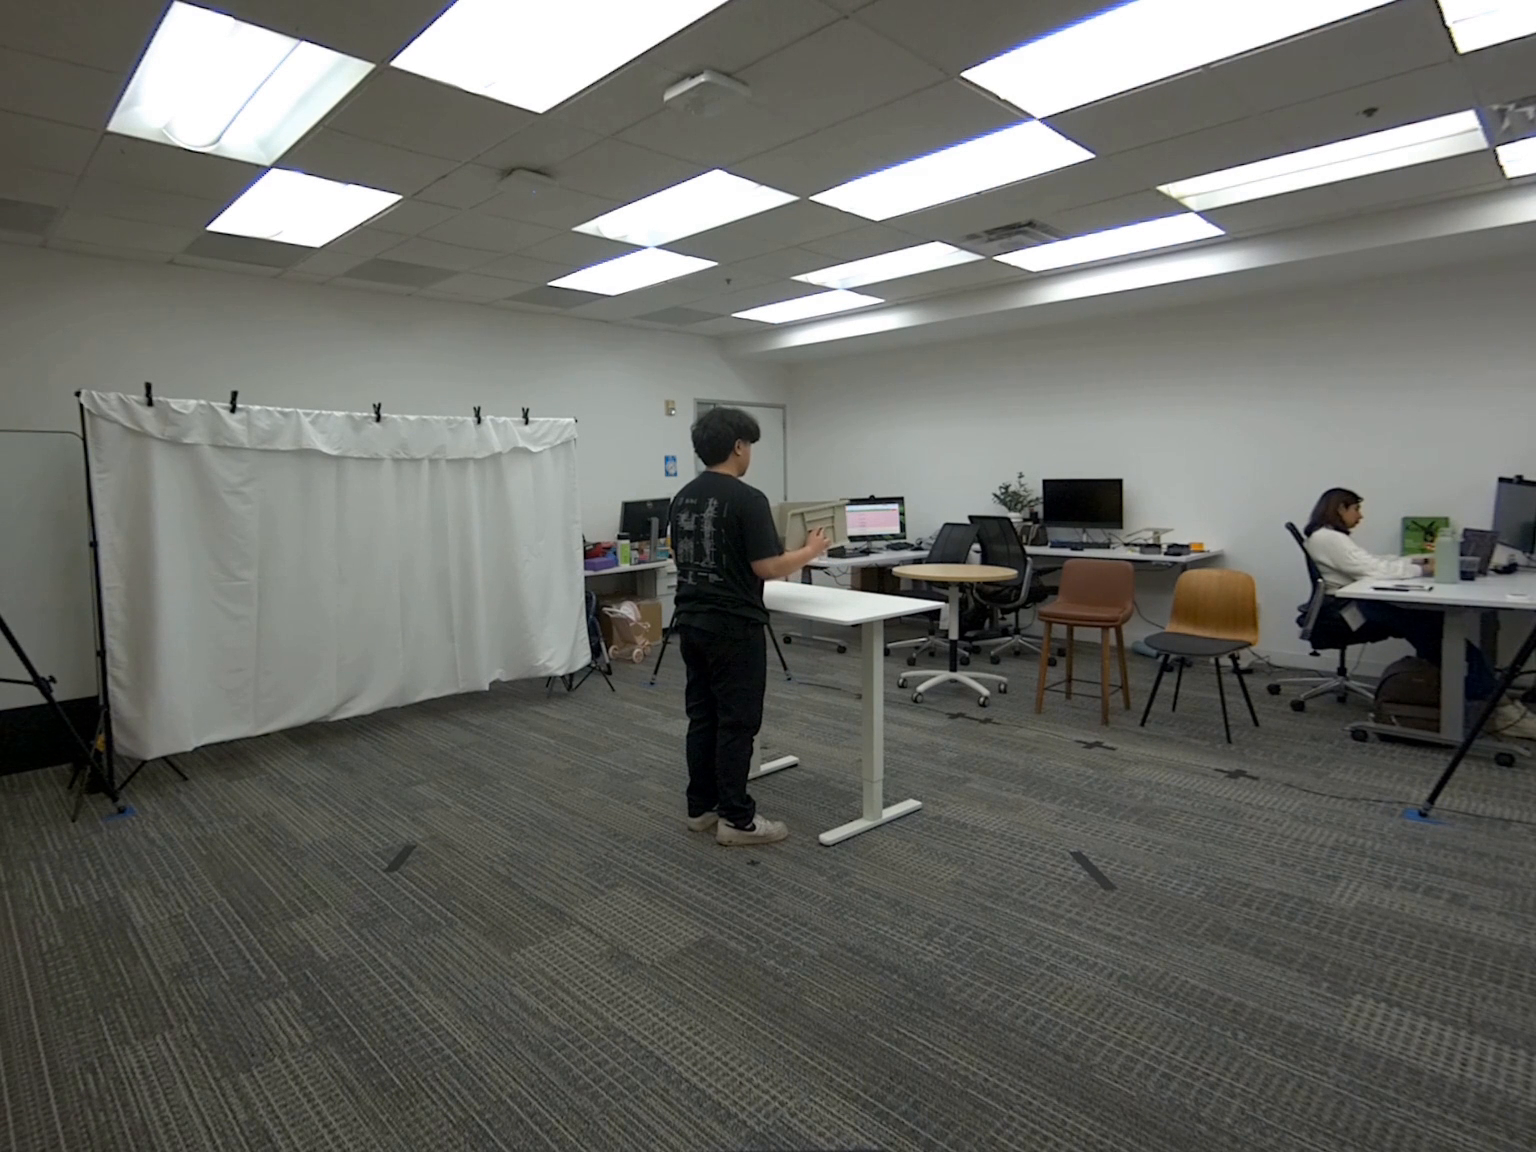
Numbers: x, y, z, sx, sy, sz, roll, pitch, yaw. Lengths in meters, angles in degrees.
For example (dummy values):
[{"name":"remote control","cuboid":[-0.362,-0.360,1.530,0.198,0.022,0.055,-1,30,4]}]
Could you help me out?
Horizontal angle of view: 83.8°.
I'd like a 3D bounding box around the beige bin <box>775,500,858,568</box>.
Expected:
[{"name":"beige bin","cuboid":[0.066,-0.197,3.553,0.369,0.188,0.435,-12,9,-39]}]
